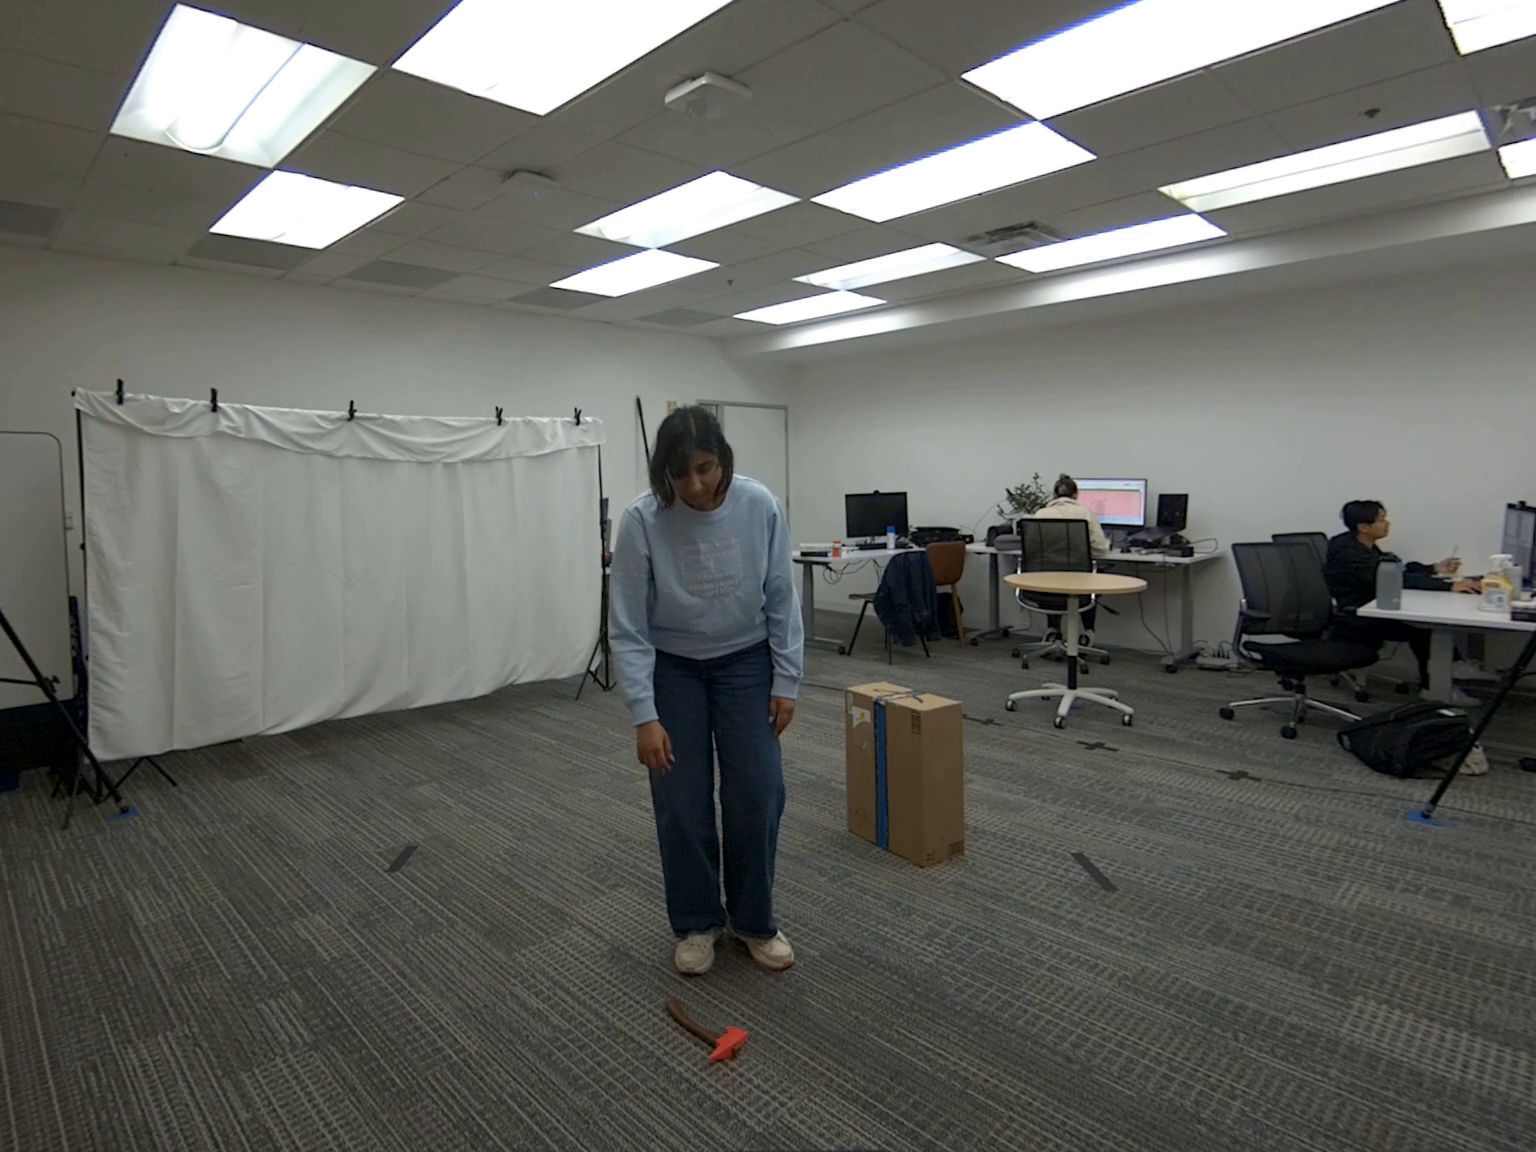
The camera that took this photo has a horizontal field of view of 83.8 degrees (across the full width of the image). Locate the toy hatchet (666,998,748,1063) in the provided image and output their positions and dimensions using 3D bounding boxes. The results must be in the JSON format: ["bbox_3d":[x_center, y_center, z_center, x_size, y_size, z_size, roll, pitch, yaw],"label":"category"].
[{"bbox_3d":[-0.143,1.153,2.178,0.128,0.029,0.277,-6,7,-30],"label":"toy hatchet"}]
